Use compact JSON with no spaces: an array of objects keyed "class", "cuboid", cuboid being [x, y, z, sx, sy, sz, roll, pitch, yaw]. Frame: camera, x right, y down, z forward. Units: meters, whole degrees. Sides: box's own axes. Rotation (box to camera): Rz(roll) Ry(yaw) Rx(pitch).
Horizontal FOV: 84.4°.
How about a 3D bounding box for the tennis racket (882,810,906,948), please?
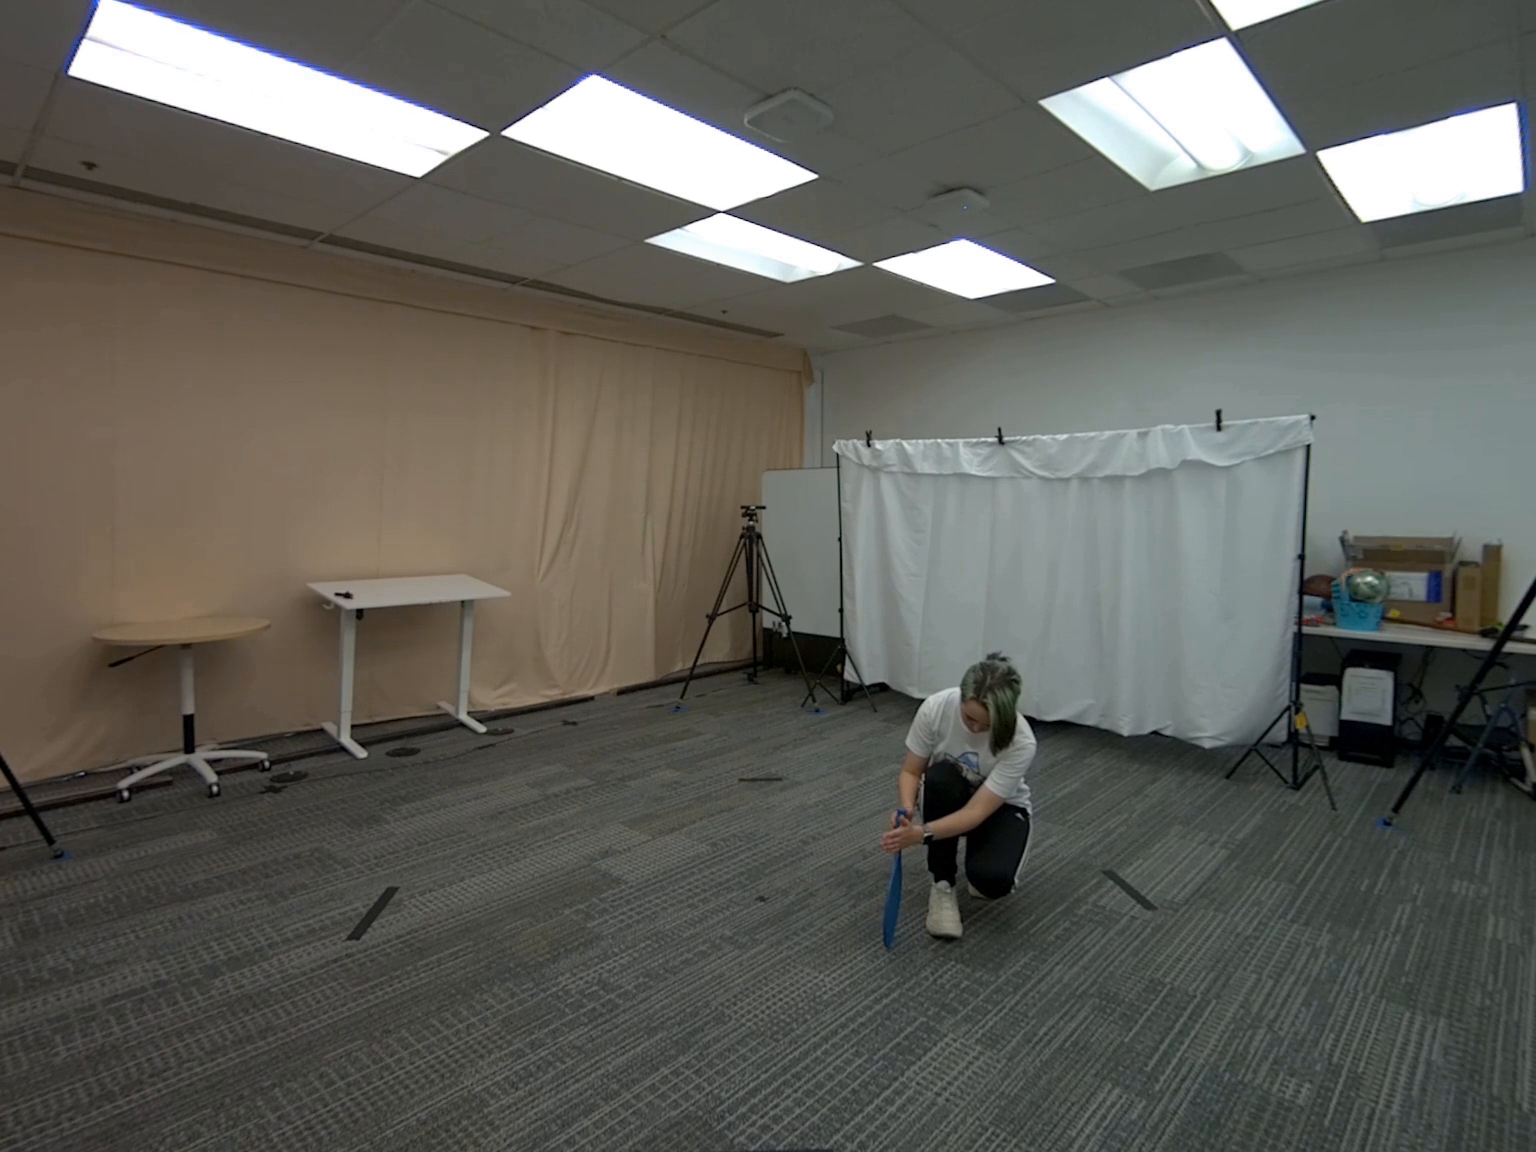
[{"class":"tennis racket","cuboid":[0.413,0.958,2.668,0.032,0.434,0.208,5,-6,19]}]
